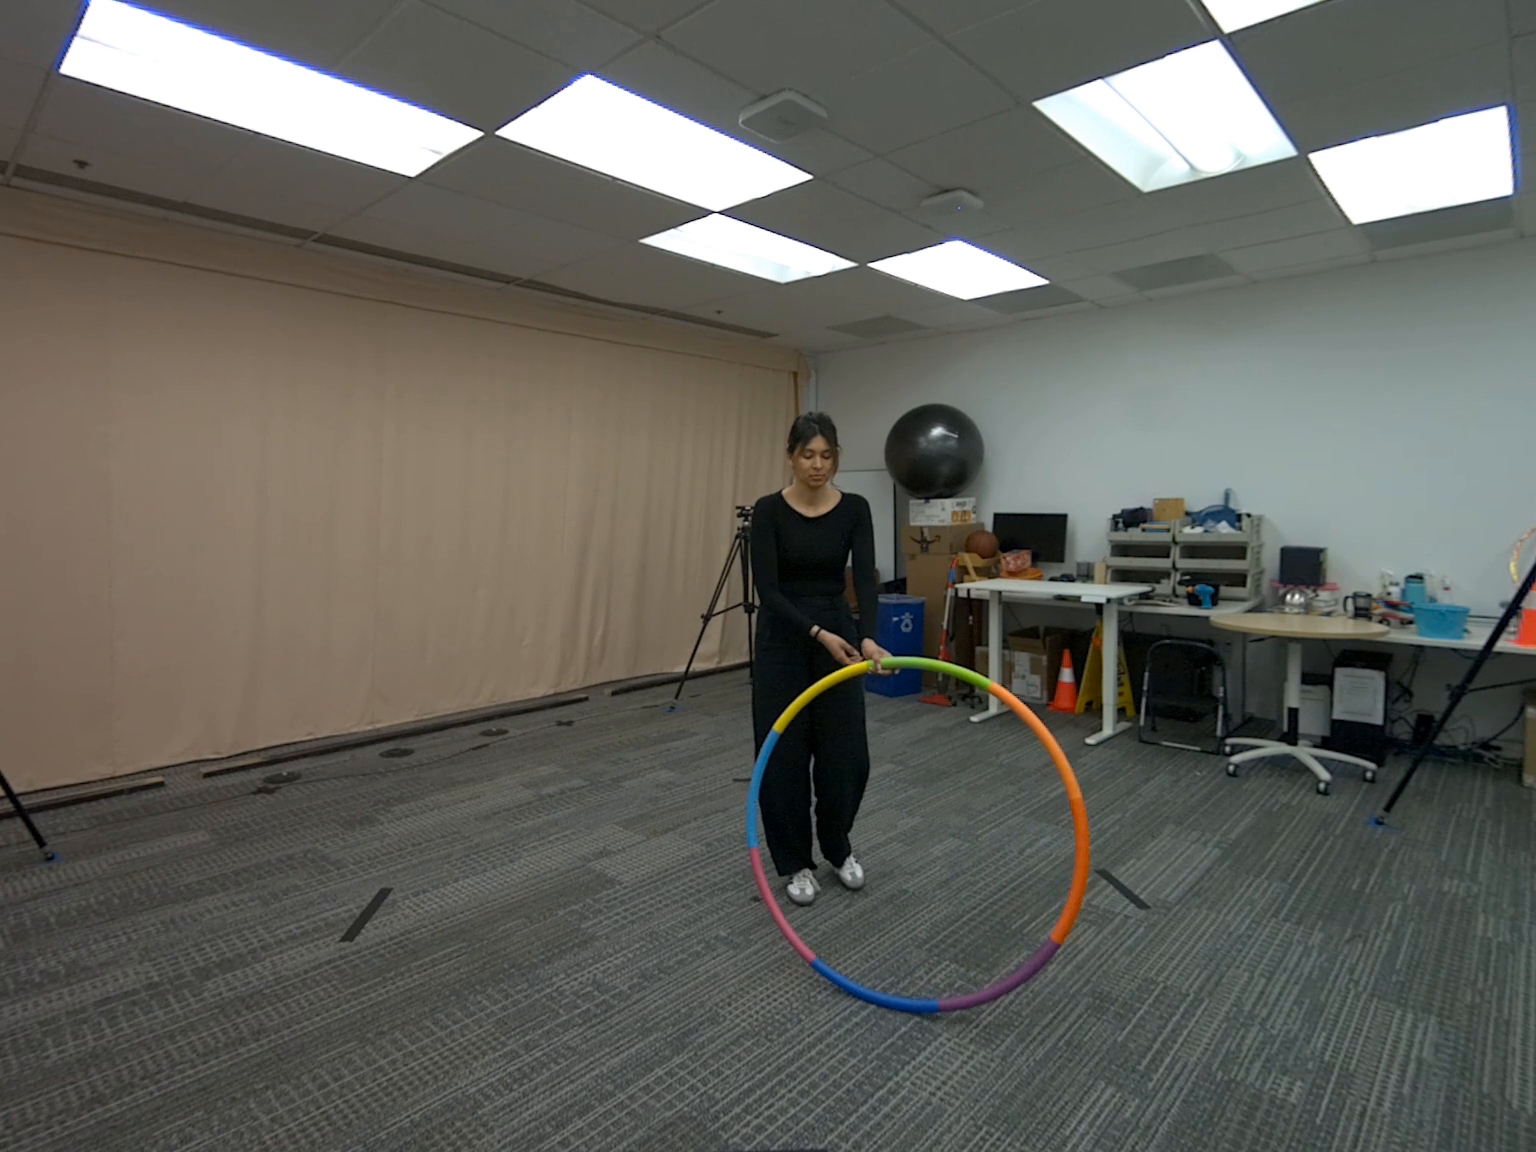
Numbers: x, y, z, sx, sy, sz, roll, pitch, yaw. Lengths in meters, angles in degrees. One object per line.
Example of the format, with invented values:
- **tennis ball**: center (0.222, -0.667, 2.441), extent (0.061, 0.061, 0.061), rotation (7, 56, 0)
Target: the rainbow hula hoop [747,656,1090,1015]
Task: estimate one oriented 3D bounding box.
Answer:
- **rainbow hula hoop**: center (0.383, 0.725, 2.440), extent (1.005, 0.984, 0.034), rotation (2, -14, 27)
